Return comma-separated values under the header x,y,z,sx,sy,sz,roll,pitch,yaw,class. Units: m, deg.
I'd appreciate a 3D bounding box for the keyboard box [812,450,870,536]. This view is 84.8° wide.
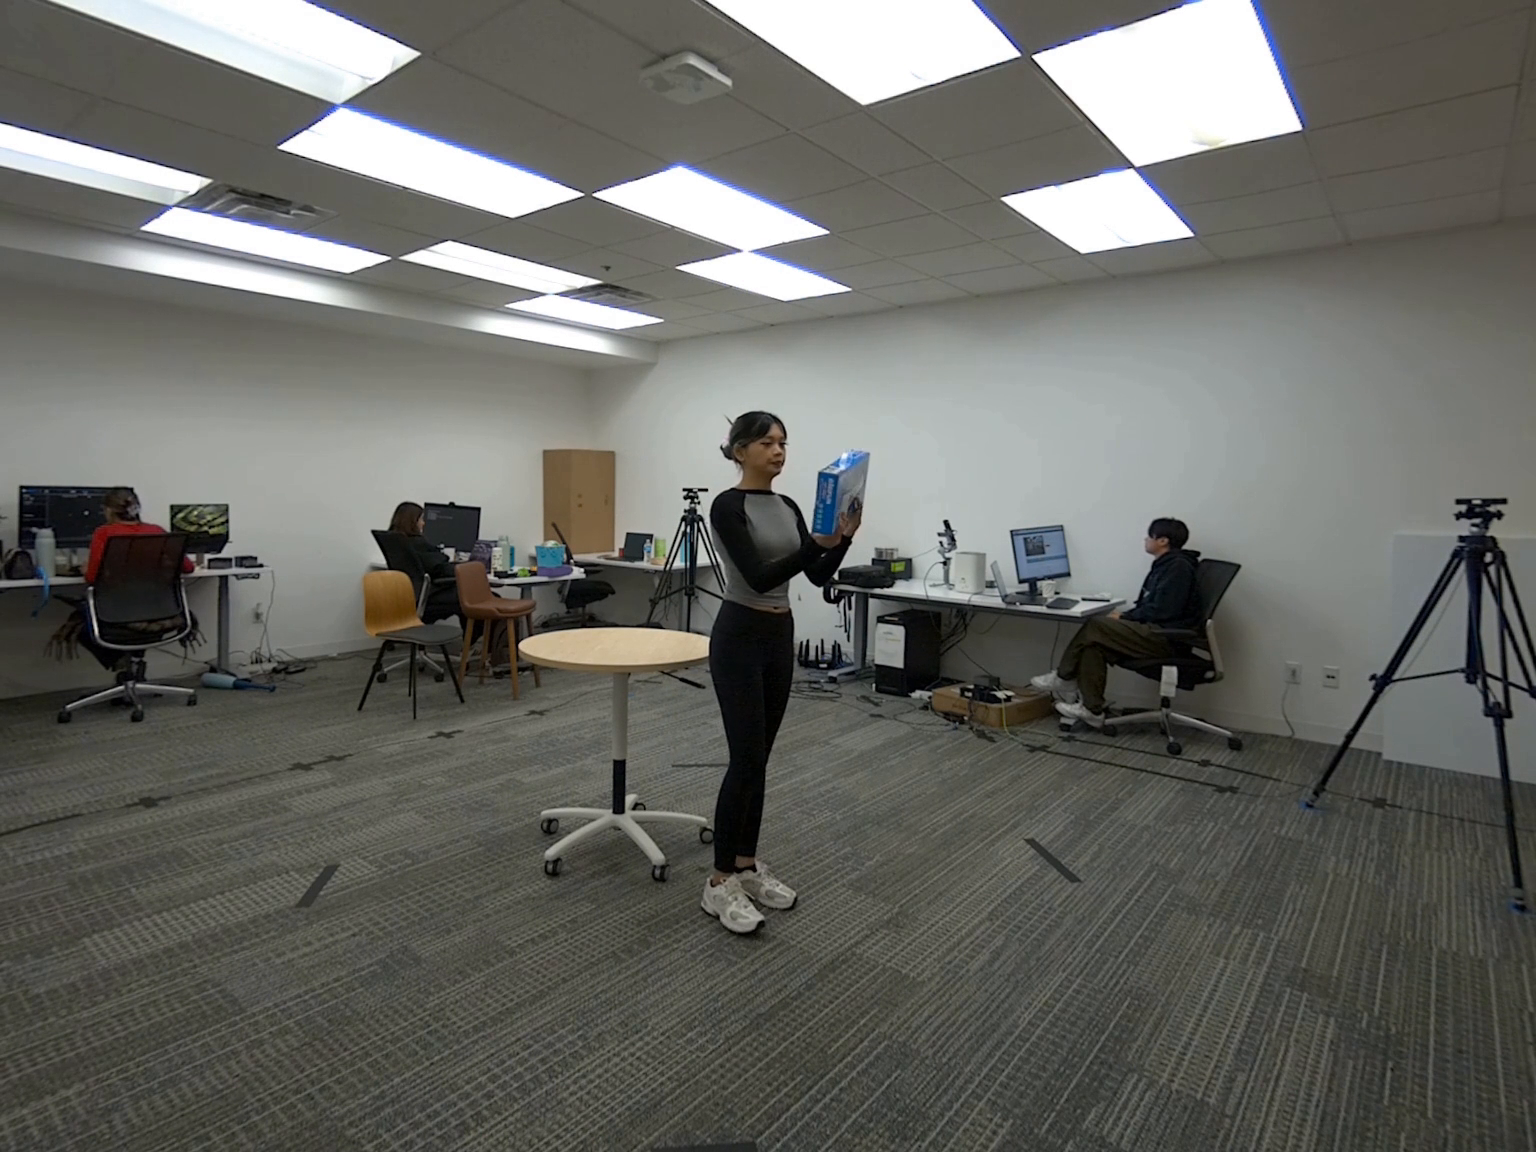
x,y,z,sx,sy,sz,roll,pitch,yaw,class
0.214,-0.260,2.527,0.060,0.173,0.434,11,19,15,keyboard box
